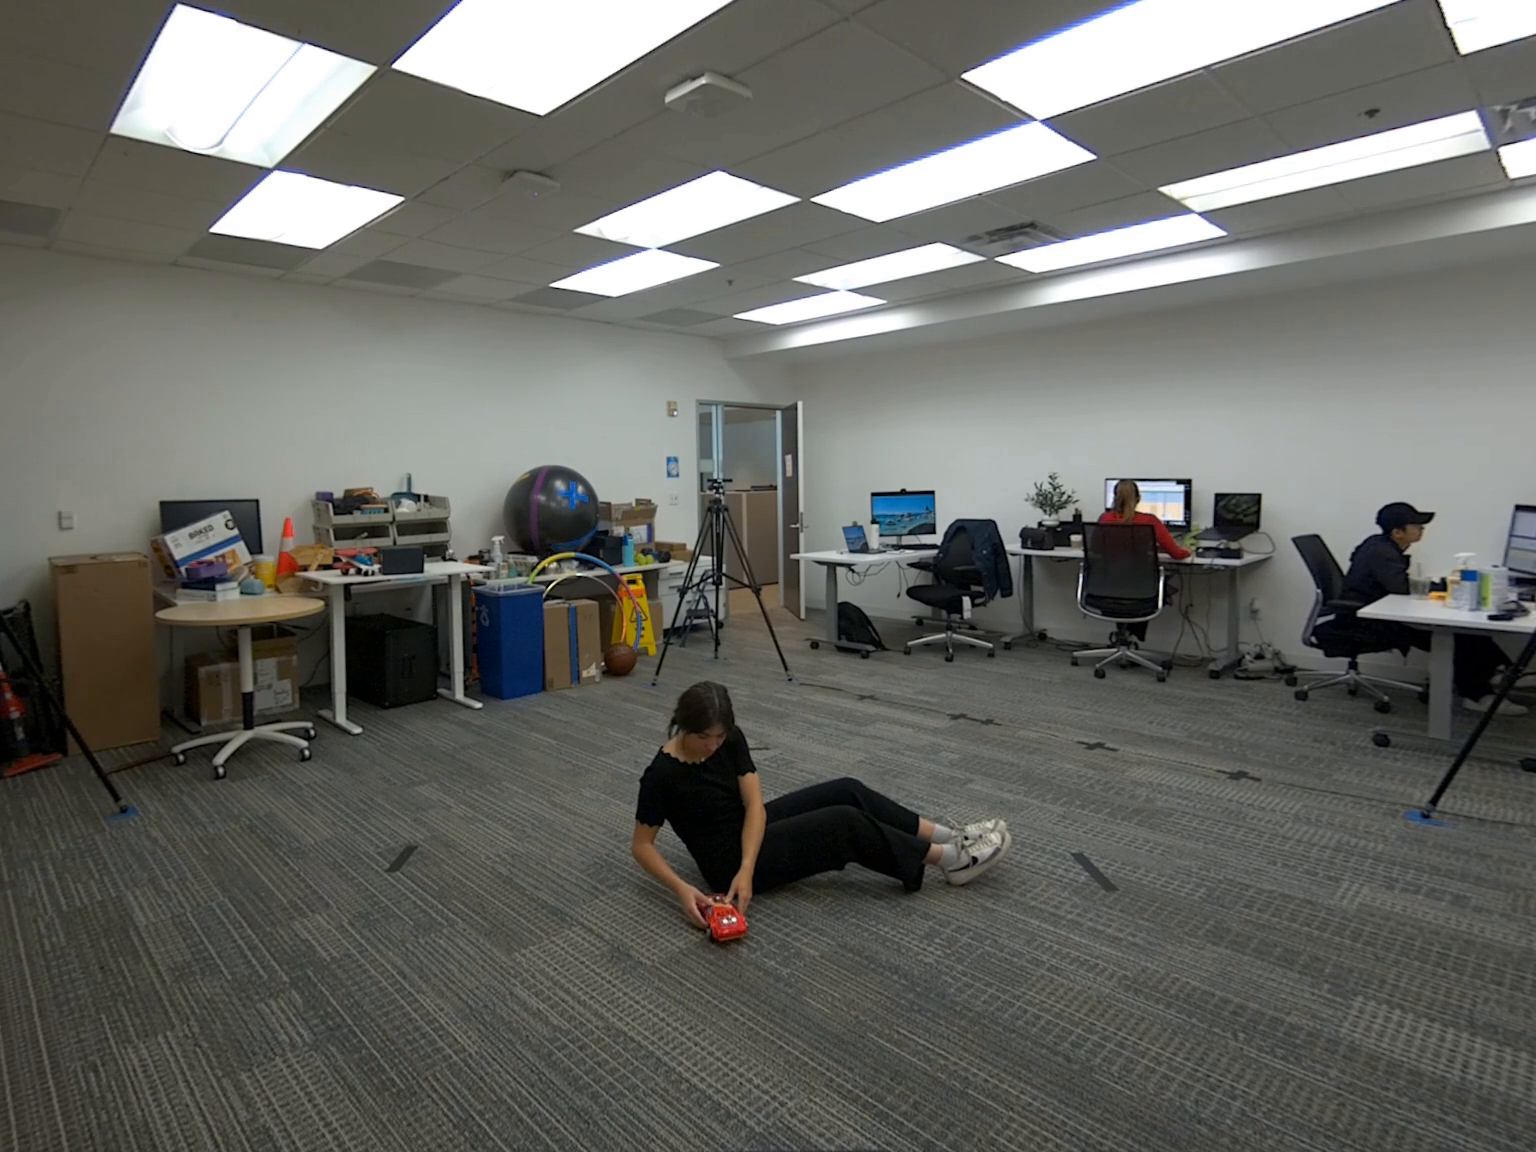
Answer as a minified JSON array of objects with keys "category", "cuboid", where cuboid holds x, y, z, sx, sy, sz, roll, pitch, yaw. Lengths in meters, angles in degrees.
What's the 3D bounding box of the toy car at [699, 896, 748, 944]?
[{"category":"toy car","cuboid":[-0.141,1.069,2.649,0.128,0.084,0.256,-5,-6,-17]}]
